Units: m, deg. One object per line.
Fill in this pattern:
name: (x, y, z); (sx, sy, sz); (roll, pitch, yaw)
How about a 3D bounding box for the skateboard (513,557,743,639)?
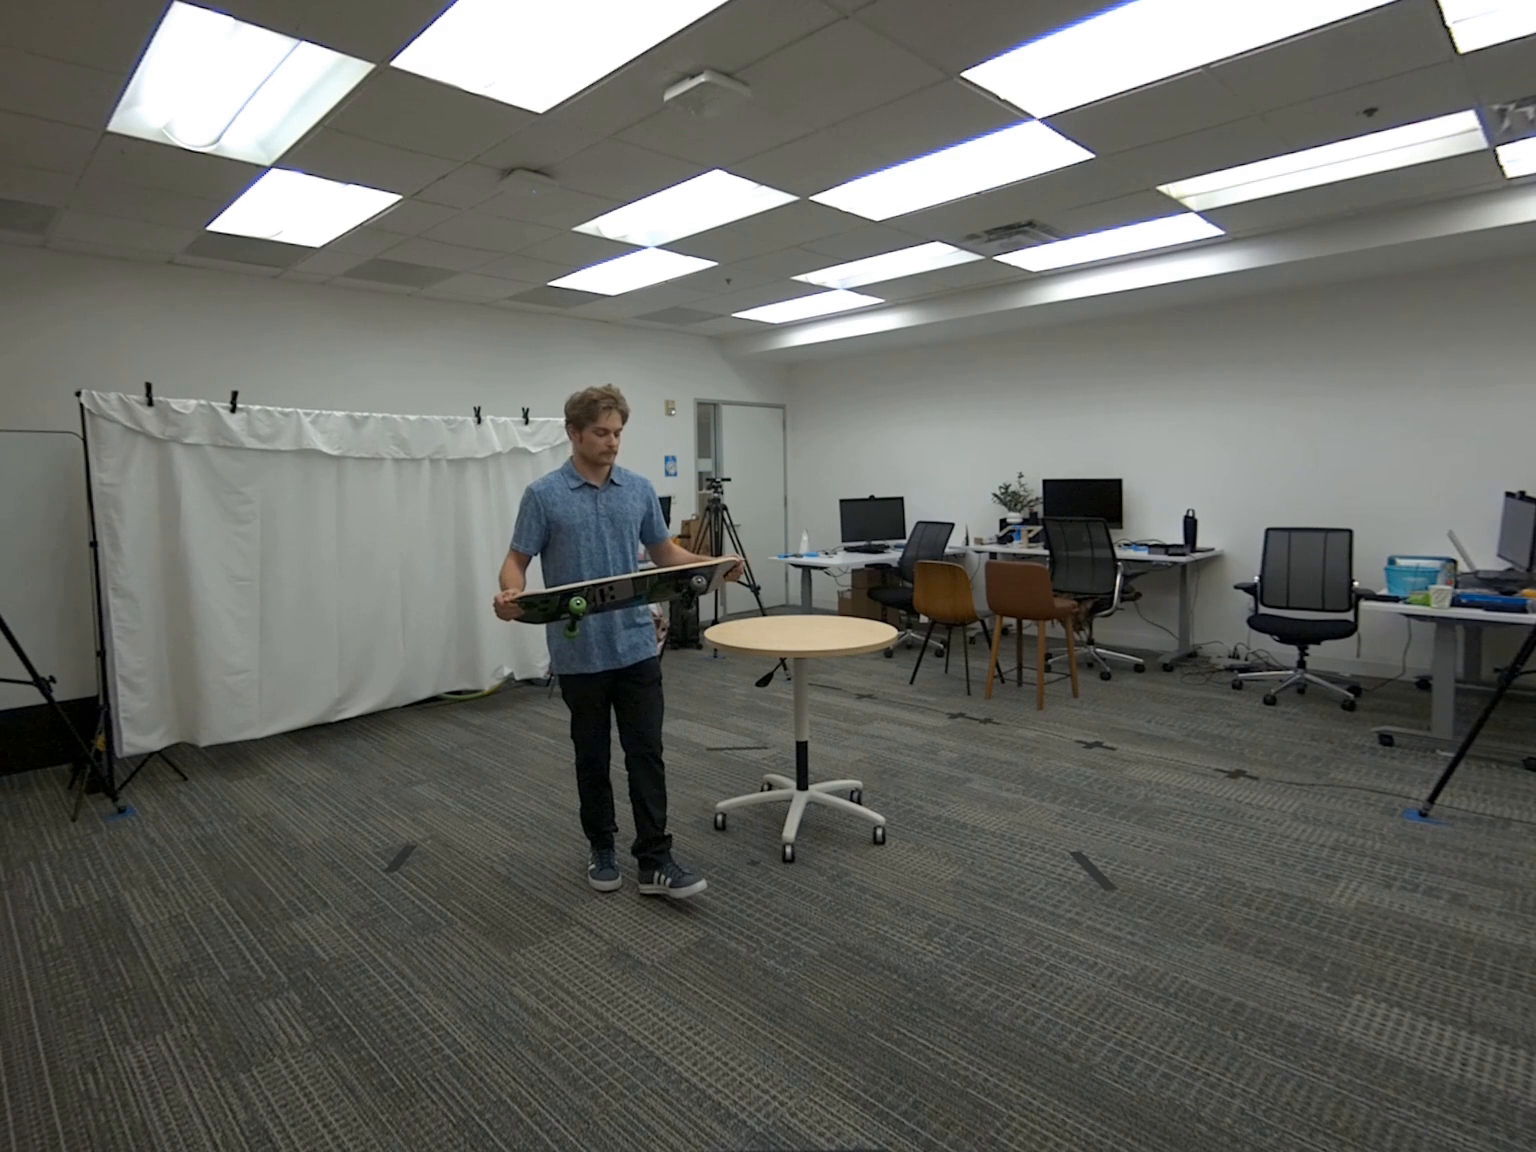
skateboard: (-0.435, 0.077, 2.715); (0.772, 0.114, 0.191); (-10, -30, -23)
